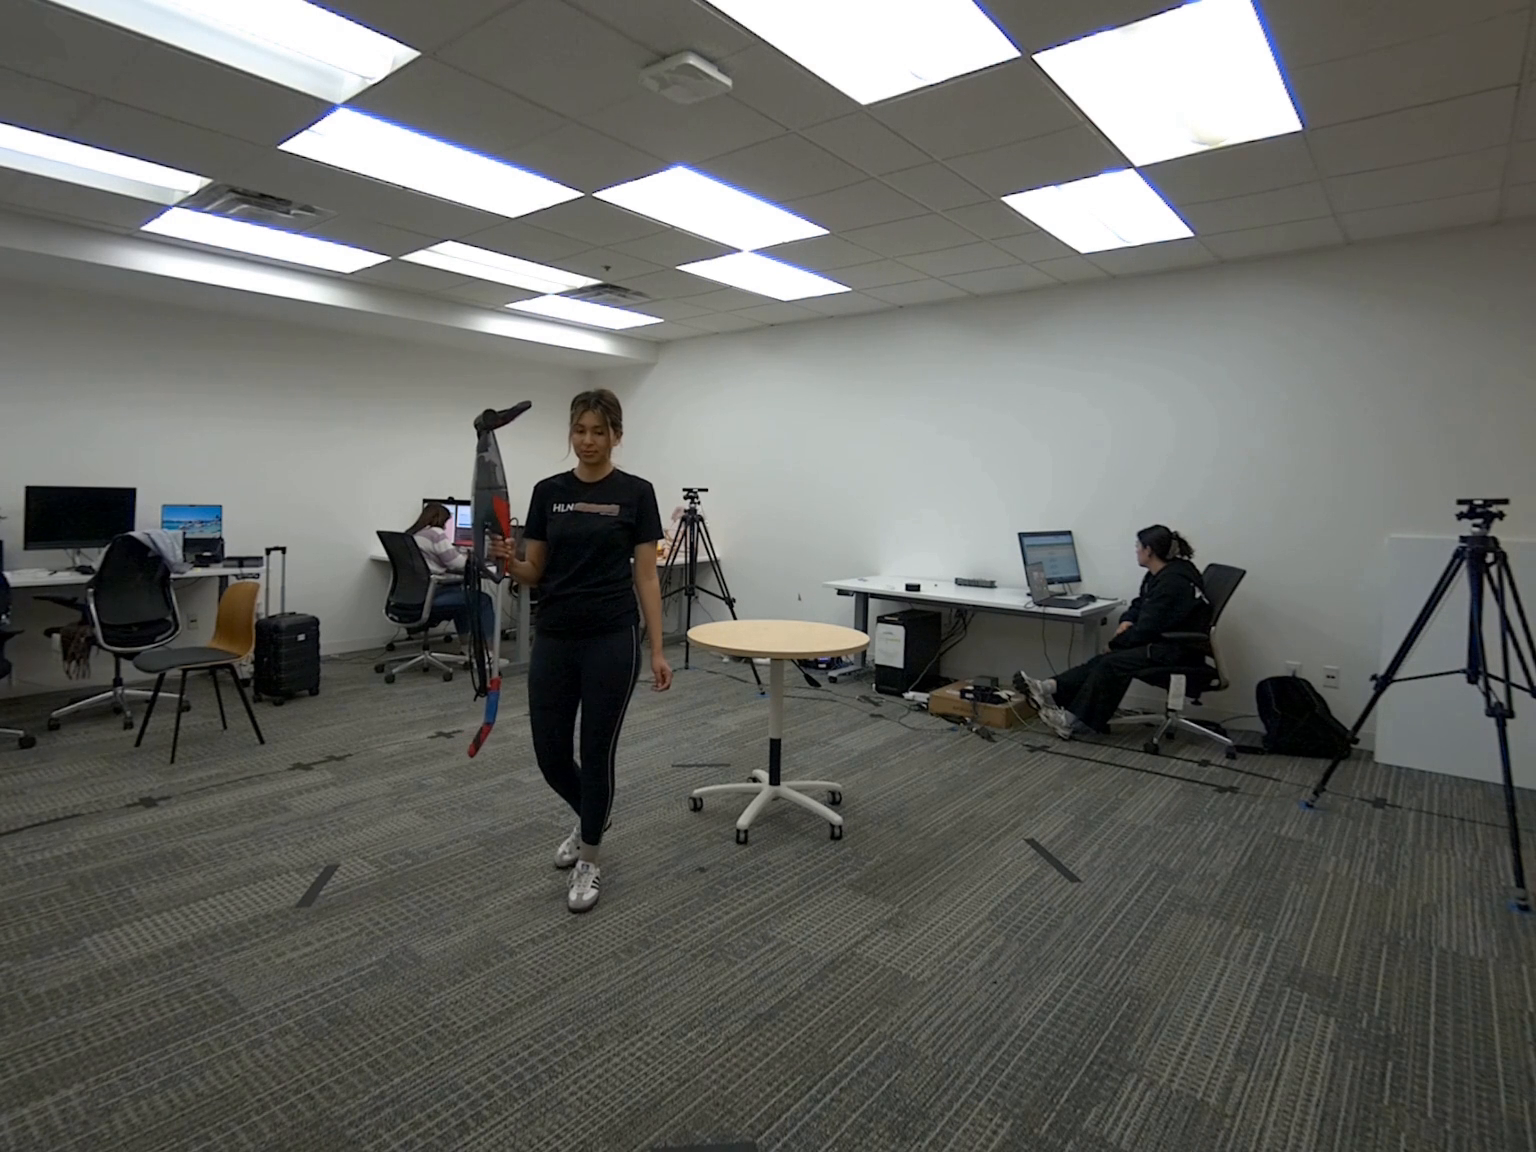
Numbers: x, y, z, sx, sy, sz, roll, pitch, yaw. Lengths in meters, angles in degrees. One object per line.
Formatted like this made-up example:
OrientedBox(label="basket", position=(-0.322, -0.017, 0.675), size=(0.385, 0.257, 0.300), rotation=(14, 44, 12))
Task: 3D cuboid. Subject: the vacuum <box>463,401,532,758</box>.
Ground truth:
OrientedBox(label="vacuum", position=(-0.871, 0.009, 2.588), size=(0.140, 1.055, 0.258), rotation=(6, -7, -29))
